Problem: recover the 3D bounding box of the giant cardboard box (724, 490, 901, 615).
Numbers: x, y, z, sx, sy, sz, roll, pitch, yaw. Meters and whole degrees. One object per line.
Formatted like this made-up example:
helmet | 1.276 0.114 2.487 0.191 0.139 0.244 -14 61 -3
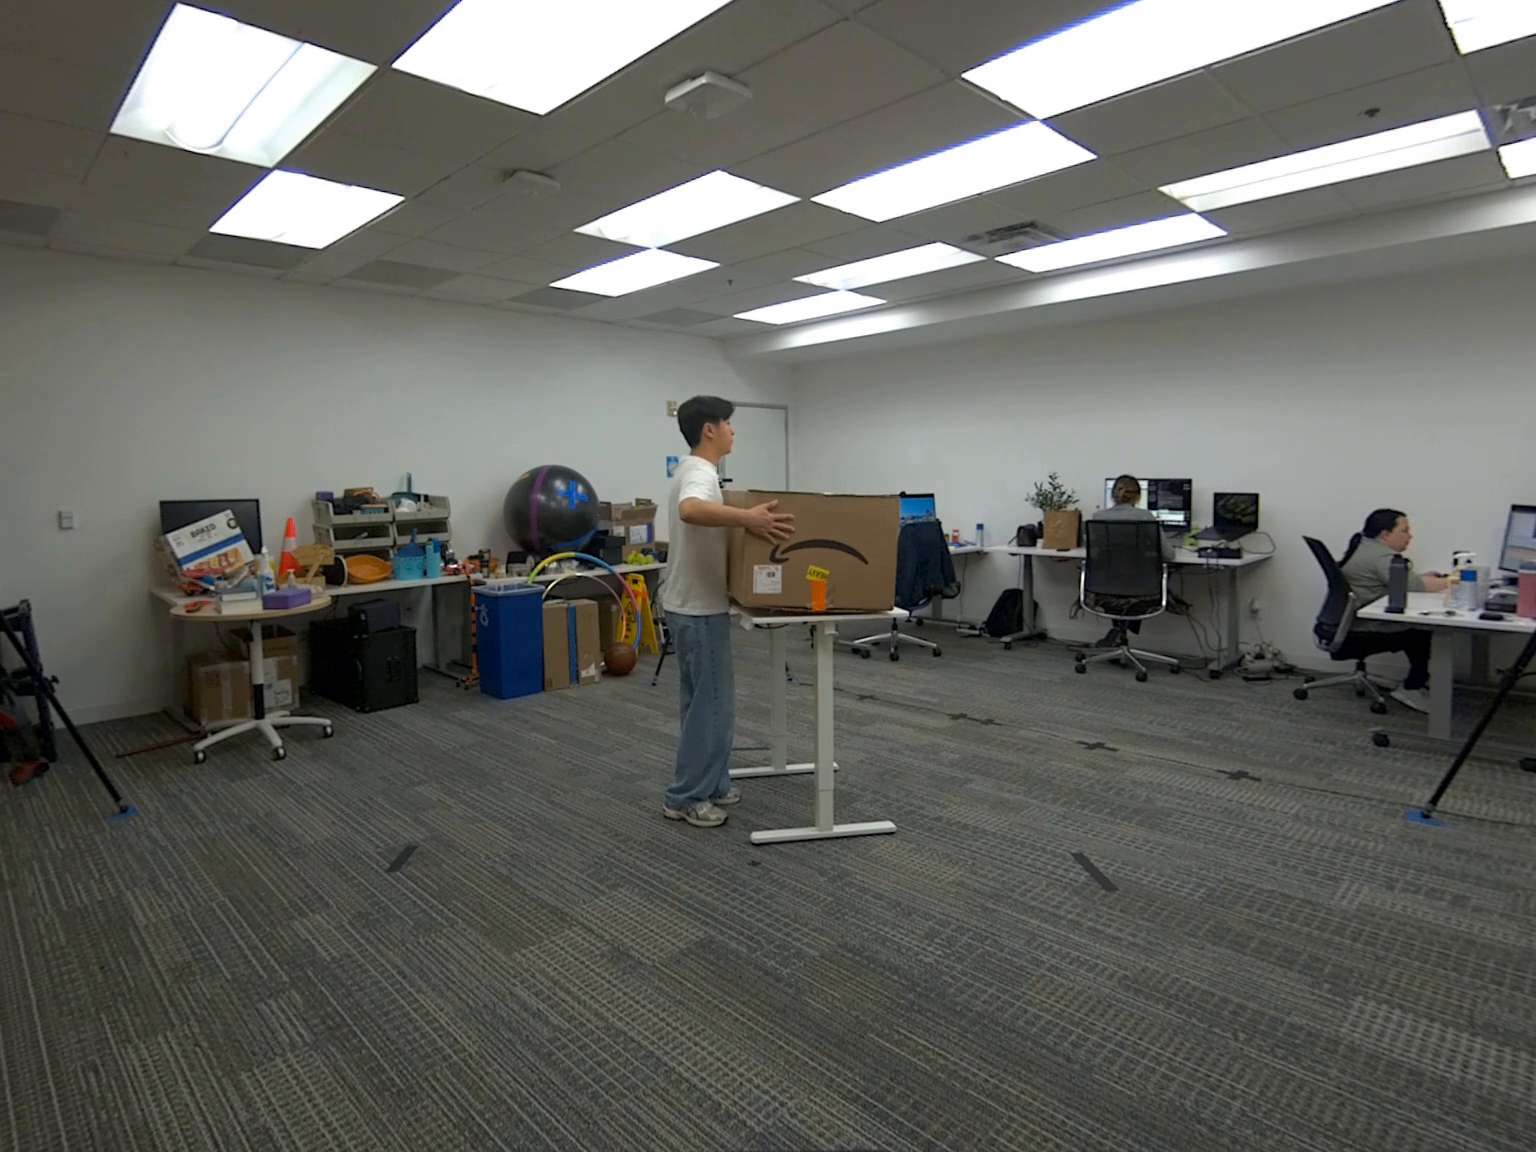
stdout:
giant cardboard box | 0.120 -0.134 3.619 0.573 0.425 1.037 1 5 -9
